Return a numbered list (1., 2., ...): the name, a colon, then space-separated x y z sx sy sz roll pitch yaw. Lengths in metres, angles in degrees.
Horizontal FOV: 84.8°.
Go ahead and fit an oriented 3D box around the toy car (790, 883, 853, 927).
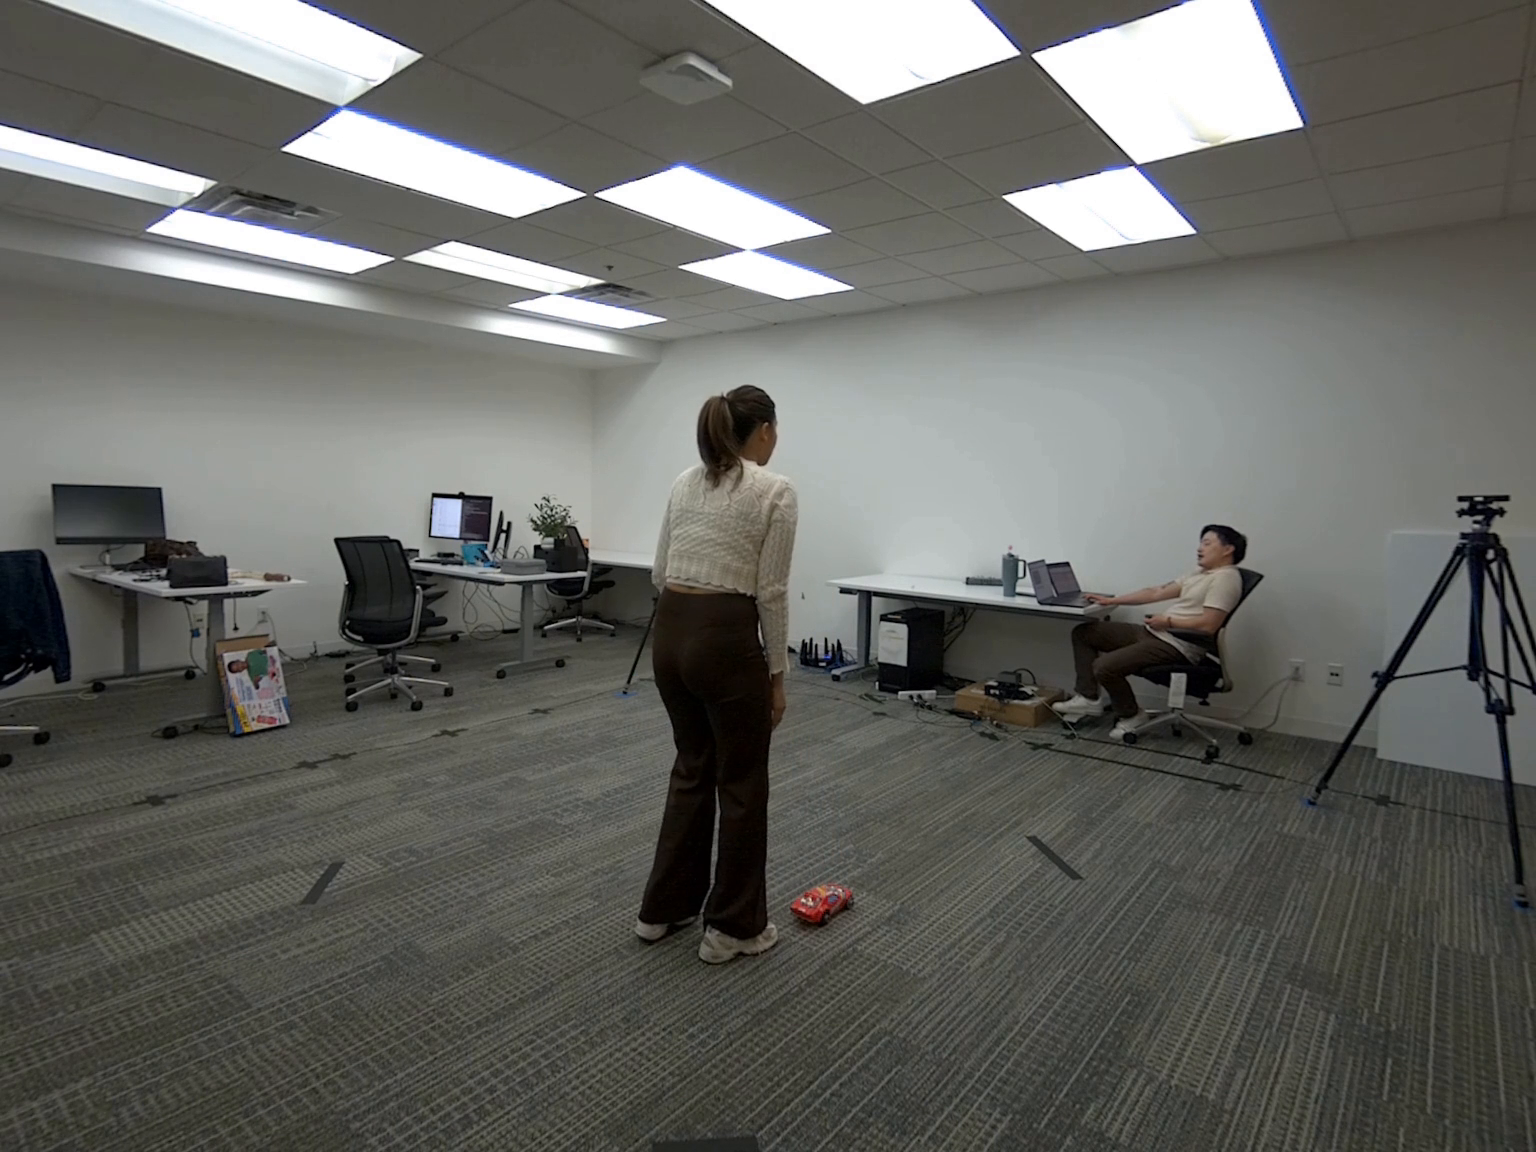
1. toy car: 0.164 1.071 2.796 0.135 0.083 0.245 6 -3 40
